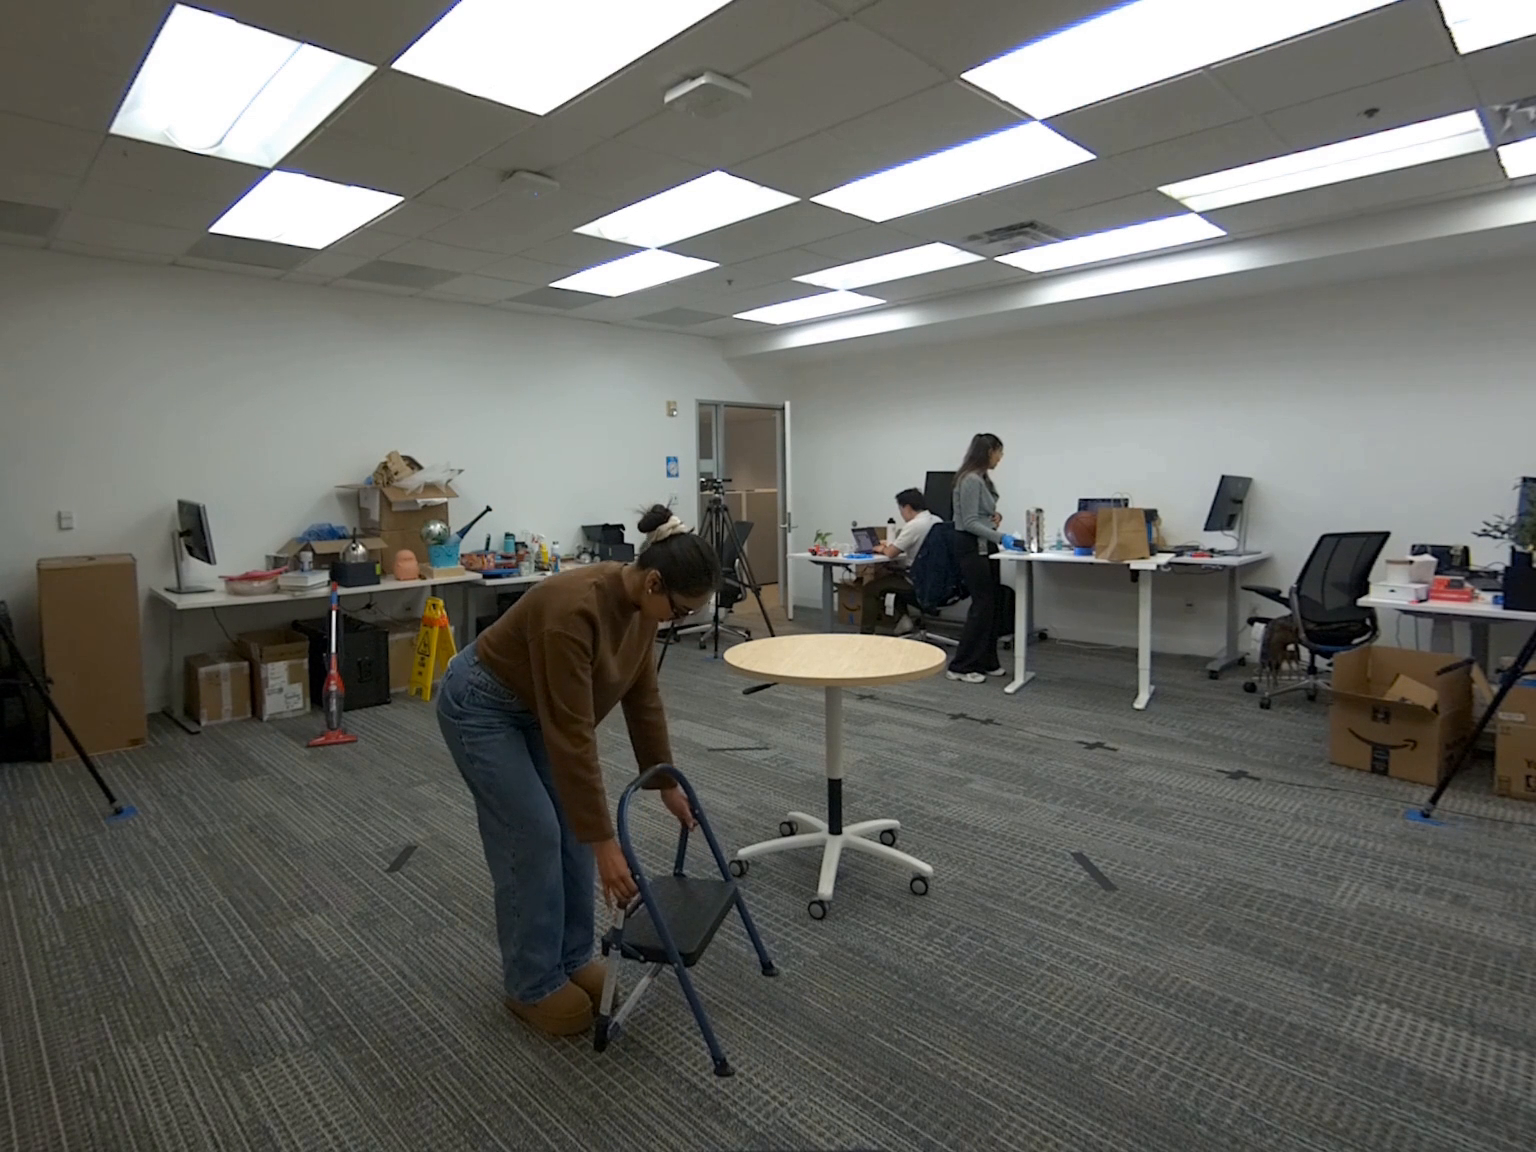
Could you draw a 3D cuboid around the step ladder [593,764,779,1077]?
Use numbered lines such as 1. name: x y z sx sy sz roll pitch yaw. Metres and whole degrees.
1. step ladder: -0.214 0.798 2.141 0.355 0.604 0.425 -2 4 17
